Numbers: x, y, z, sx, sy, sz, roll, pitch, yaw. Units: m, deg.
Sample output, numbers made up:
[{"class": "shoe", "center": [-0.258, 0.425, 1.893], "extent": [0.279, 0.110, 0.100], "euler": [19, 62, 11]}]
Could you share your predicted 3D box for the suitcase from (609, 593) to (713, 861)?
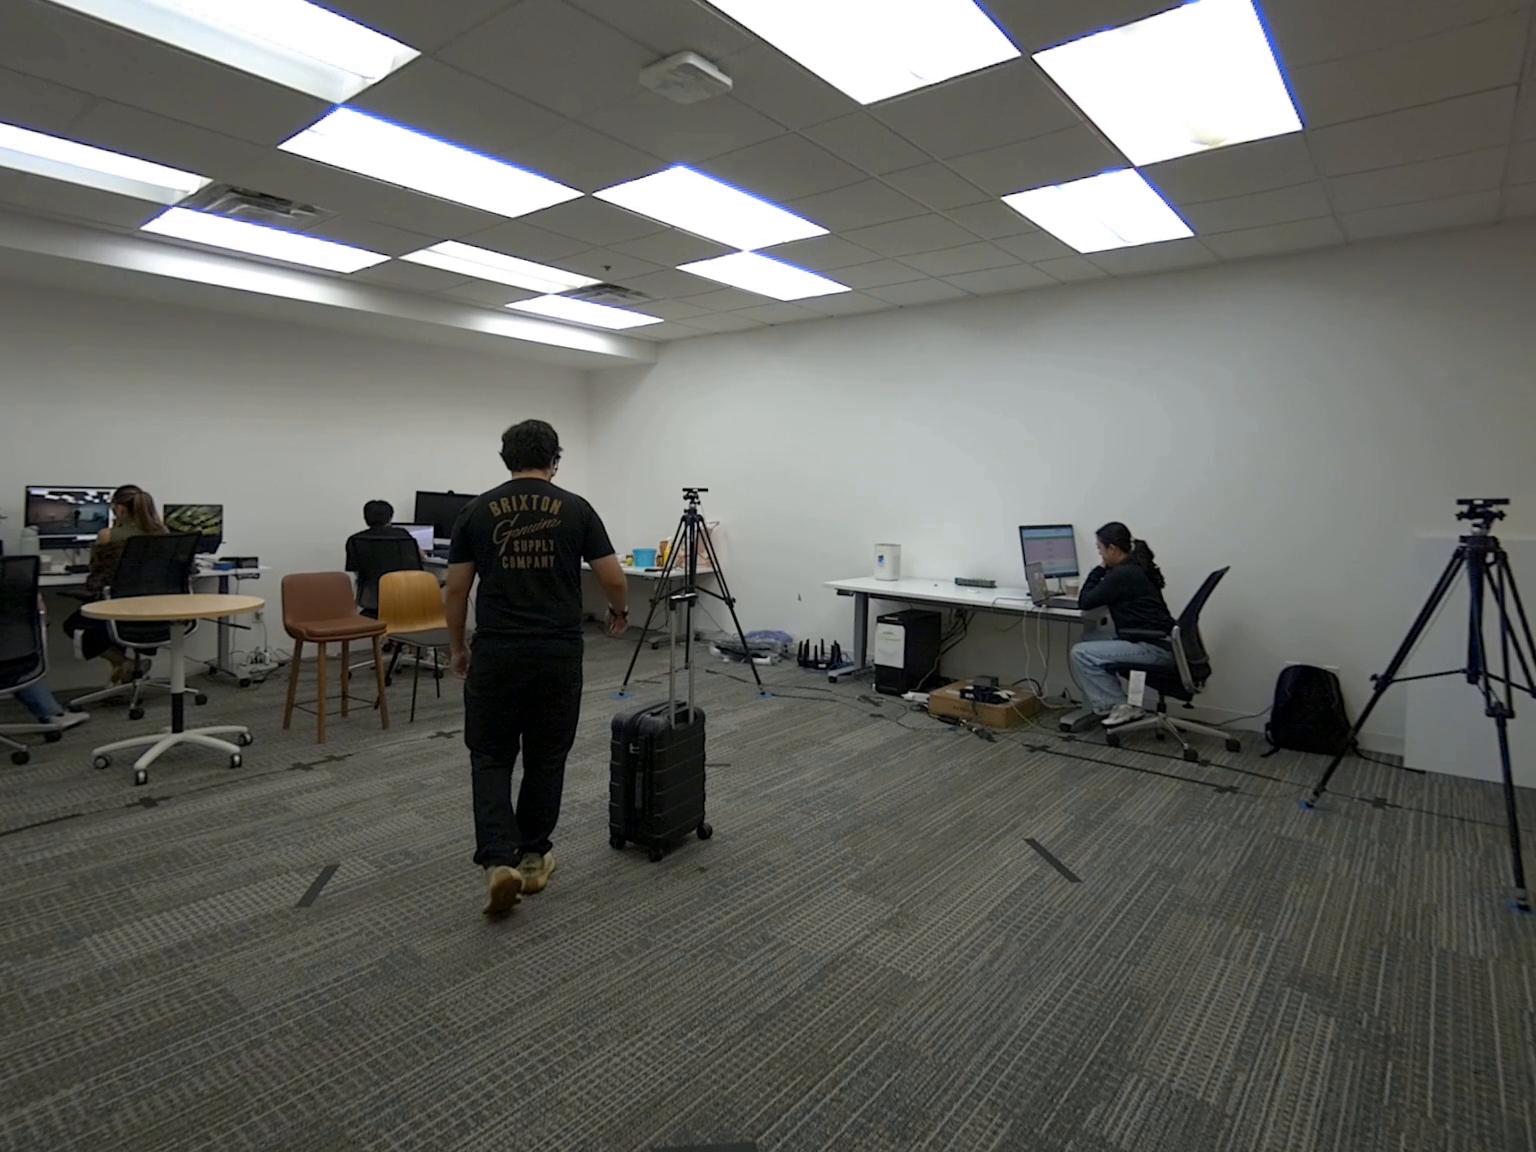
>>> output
[{"class": "suitcase", "center": [-0.439, 0.569, 3.318], "extent": [0.264, 0.976, 0.374], "euler": [1, 3, 30]}]
